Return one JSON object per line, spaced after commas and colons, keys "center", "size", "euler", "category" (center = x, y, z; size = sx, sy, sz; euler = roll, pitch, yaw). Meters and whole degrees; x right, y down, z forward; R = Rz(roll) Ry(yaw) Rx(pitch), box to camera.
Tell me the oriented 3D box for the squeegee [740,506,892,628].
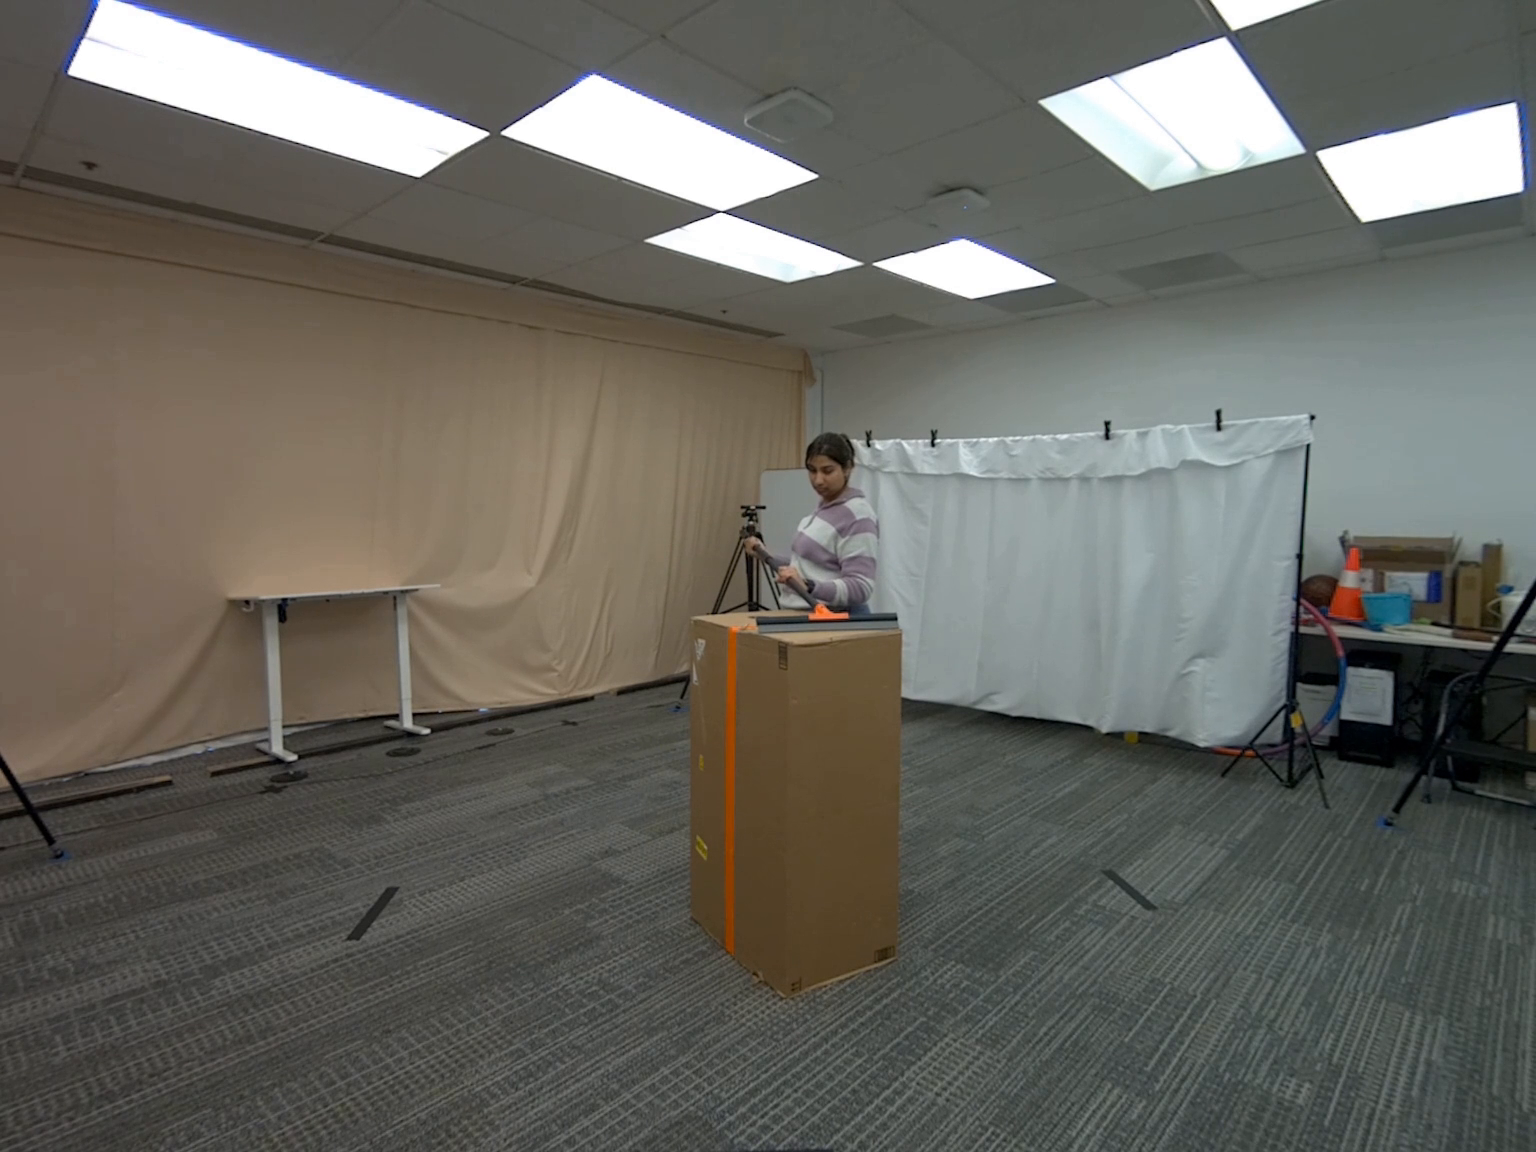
{"center": [0.013, -0.048, 3.250], "size": [0.434, 0.052, 1.562], "euler": [3, 14, -9], "category": "squeegee"}
